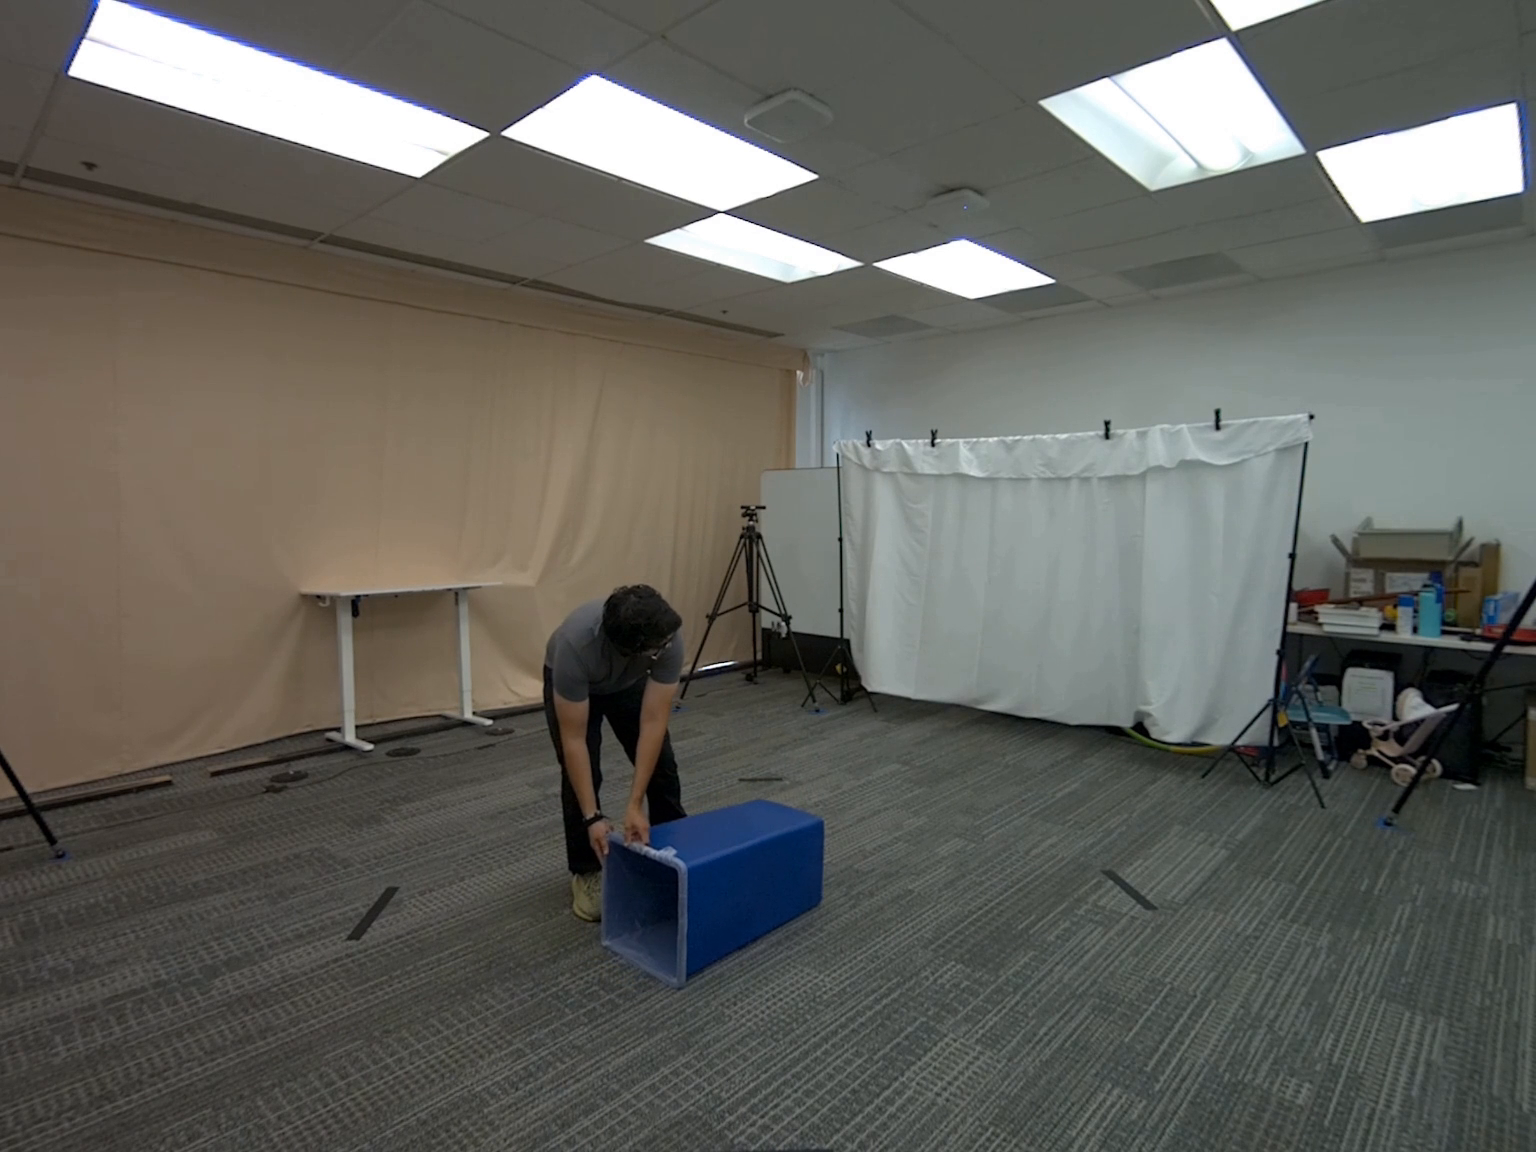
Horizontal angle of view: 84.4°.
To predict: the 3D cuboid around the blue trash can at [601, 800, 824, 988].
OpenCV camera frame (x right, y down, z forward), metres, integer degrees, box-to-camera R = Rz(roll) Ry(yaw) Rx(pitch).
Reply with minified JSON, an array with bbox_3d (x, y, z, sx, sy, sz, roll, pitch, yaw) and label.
[{"bbox_3d":[-0.143,0.993,2.778,0.386,0.378,0.691,2,3,43],"label":"blue trash can"}]
